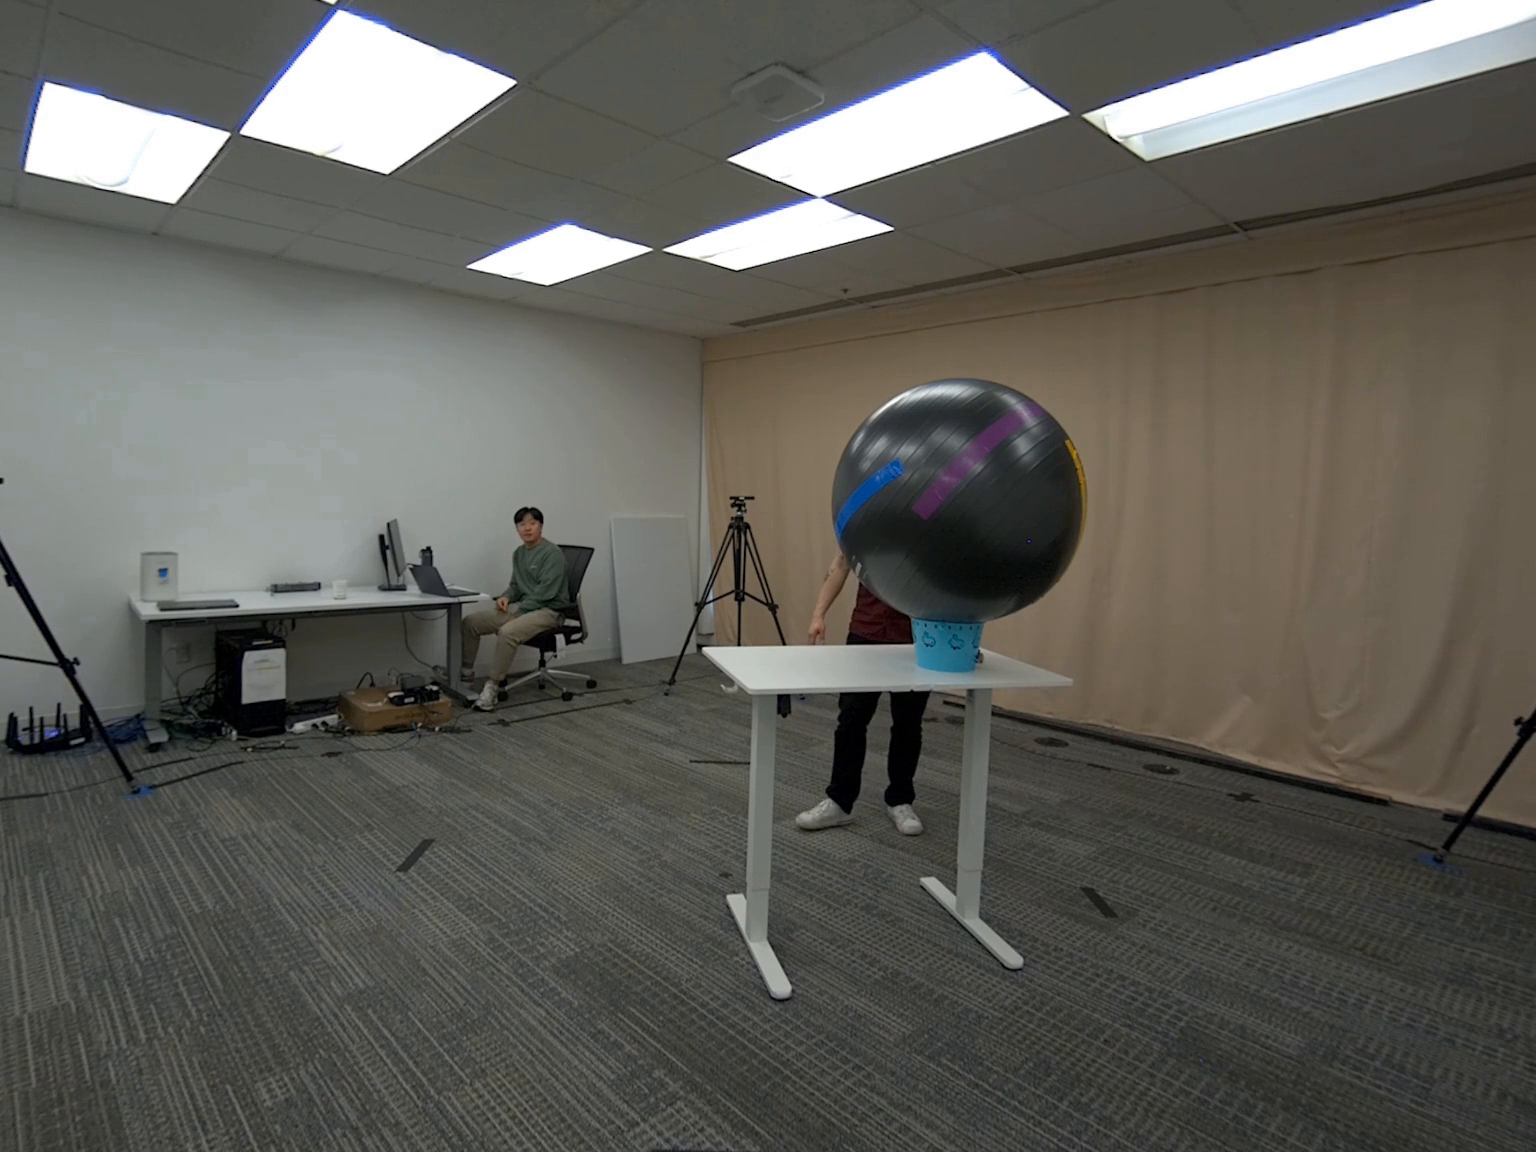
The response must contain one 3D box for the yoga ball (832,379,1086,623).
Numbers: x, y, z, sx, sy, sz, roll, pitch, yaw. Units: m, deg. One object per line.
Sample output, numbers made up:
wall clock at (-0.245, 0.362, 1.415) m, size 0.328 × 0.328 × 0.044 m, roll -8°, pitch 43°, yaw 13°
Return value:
yoga ball at (0.586, -0.217, 2.603) m, size 0.757 × 0.756 × 0.760 m, roll 1°, pitch 4°, yaw -1°
